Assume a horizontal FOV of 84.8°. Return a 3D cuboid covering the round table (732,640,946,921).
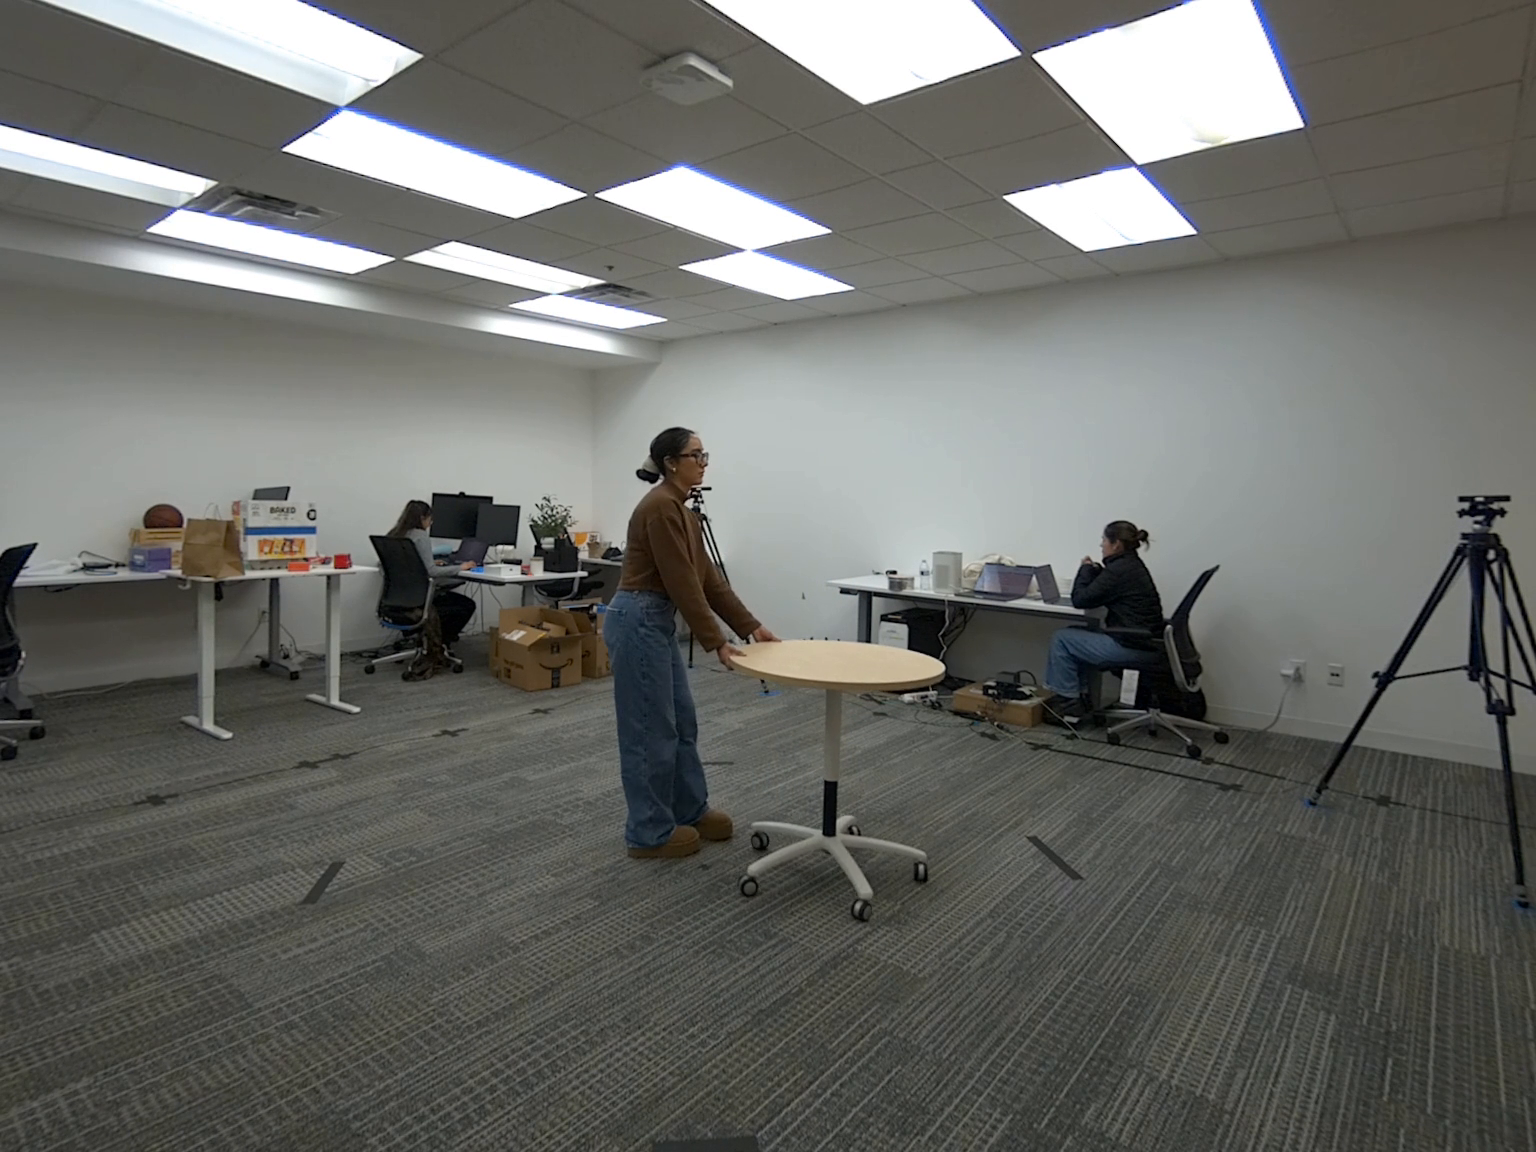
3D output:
[{"bbox_3d":[0.199,0.683,3.071,0.784,0.784,0.788,2,4,-2],"label":"round table"}]
